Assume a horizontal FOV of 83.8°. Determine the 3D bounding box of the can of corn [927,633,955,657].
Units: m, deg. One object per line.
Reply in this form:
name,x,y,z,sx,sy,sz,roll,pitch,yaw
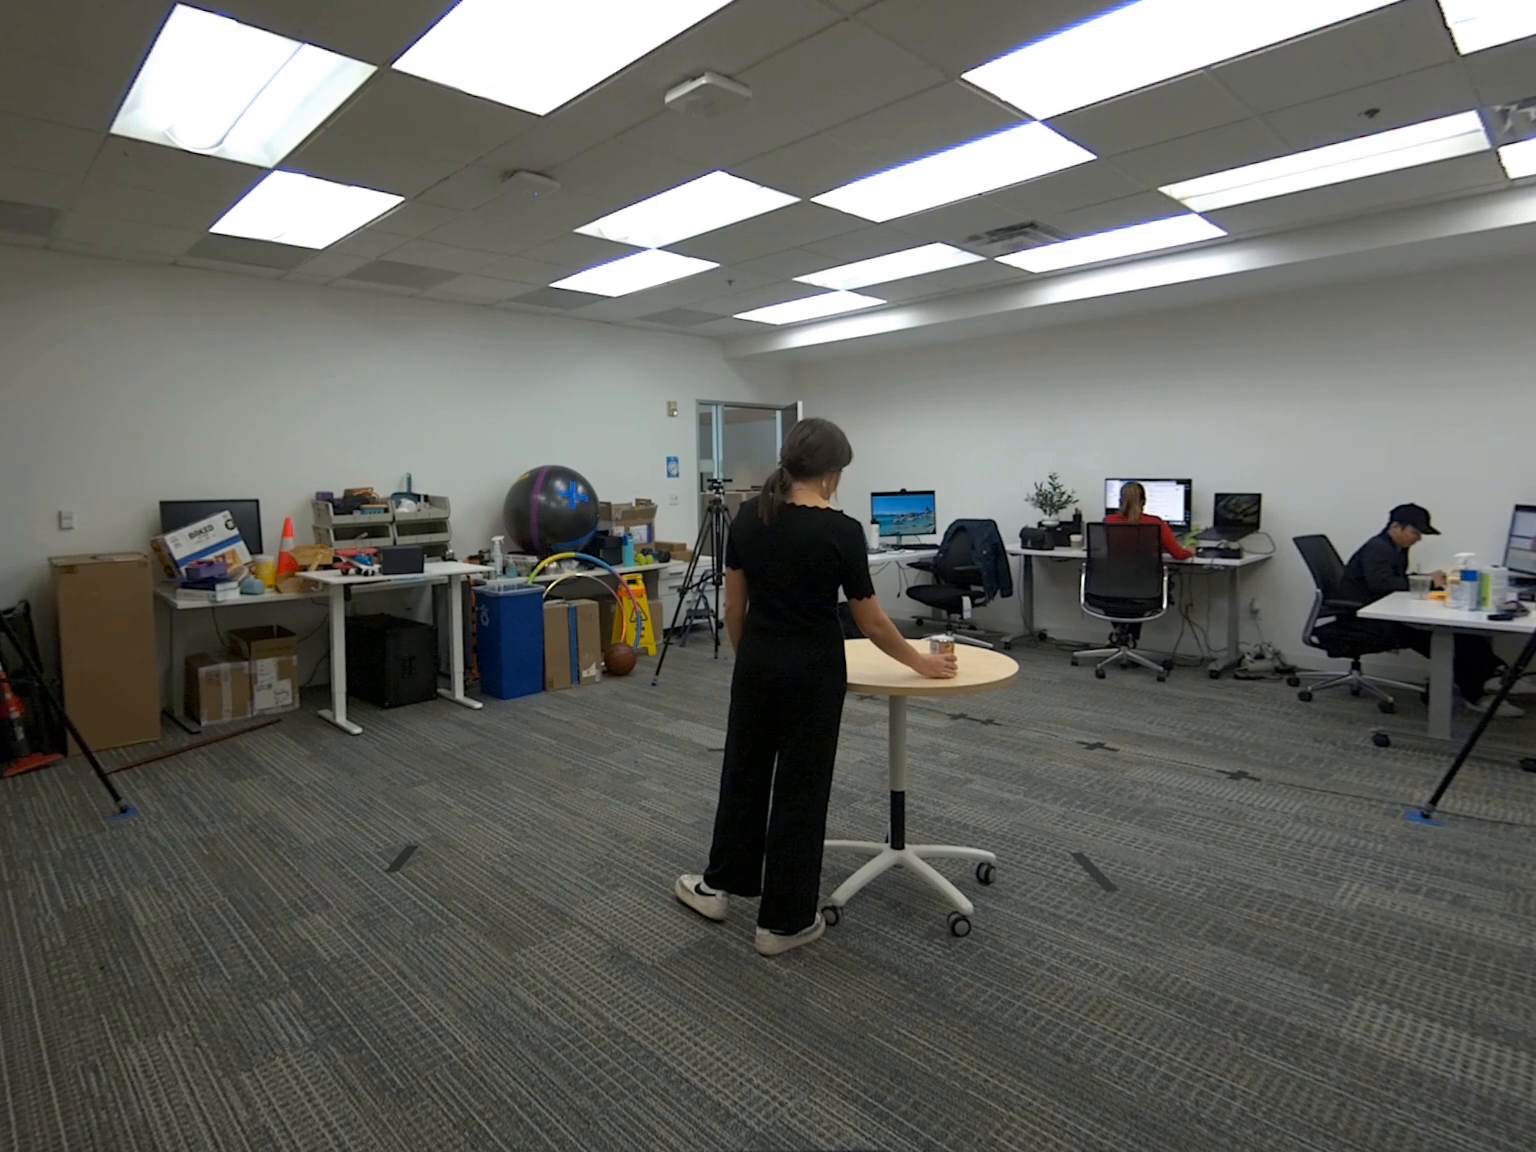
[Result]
can of corn,0.534,0.242,2.646,0.074,0.110,0.075,2,6,-2
